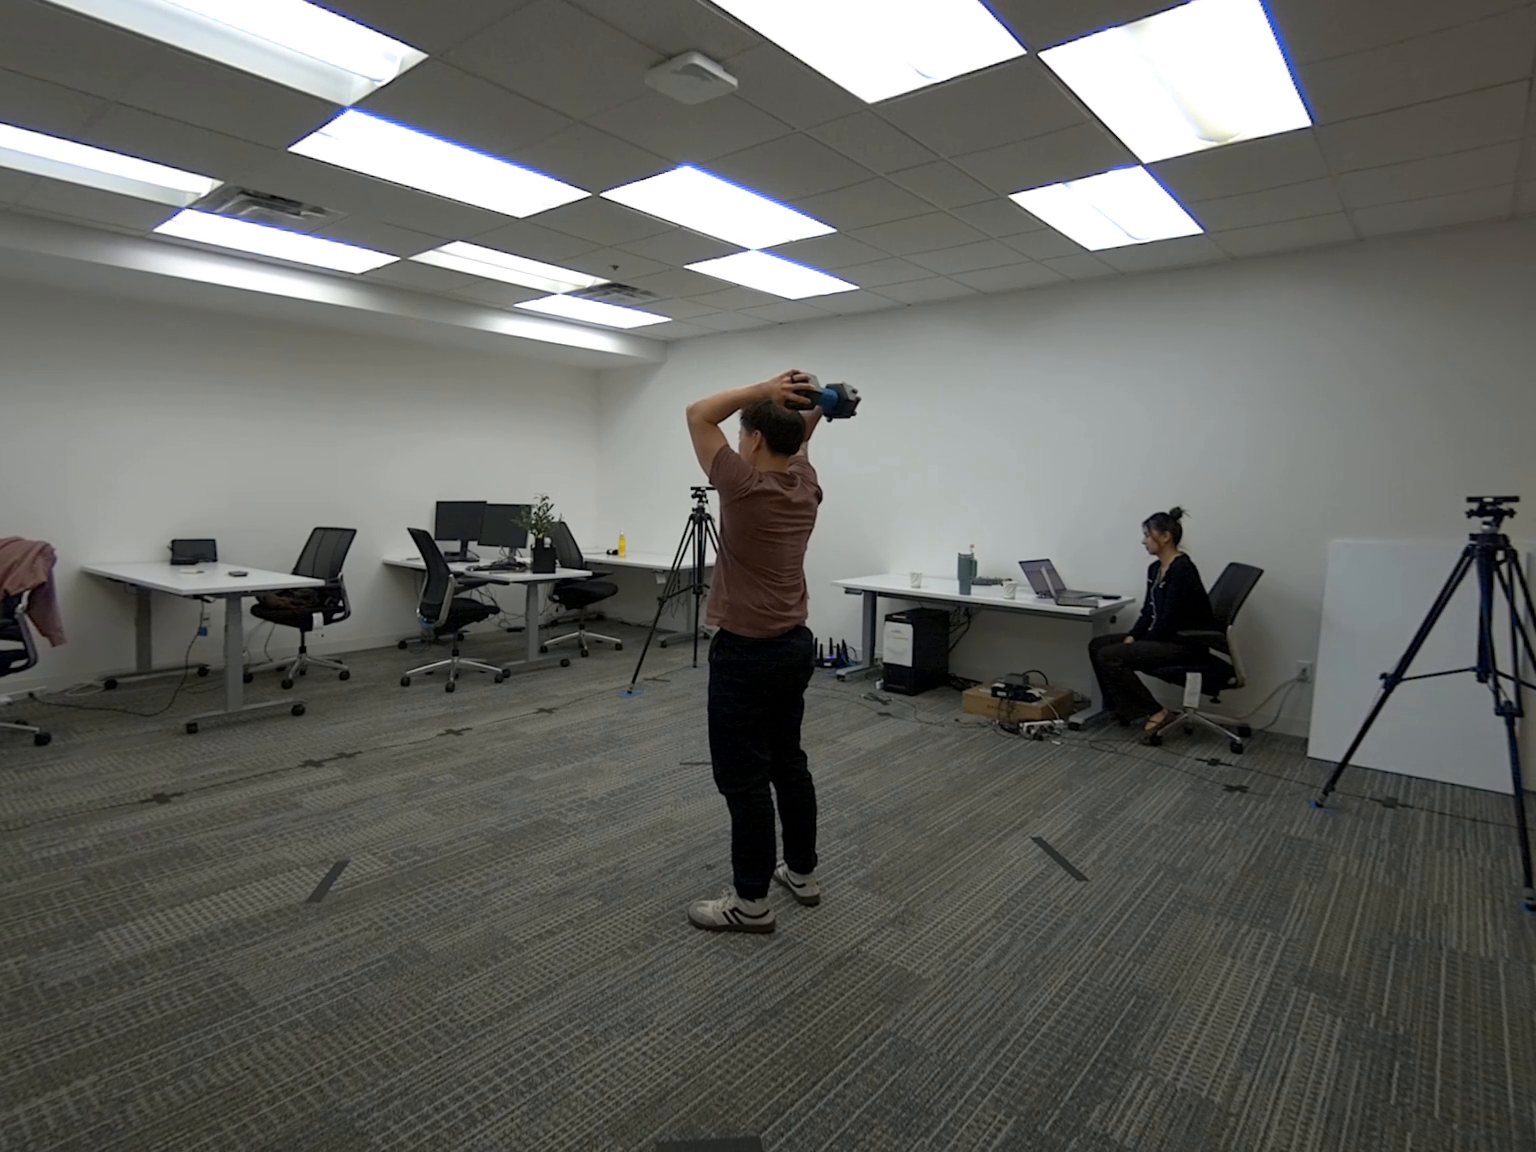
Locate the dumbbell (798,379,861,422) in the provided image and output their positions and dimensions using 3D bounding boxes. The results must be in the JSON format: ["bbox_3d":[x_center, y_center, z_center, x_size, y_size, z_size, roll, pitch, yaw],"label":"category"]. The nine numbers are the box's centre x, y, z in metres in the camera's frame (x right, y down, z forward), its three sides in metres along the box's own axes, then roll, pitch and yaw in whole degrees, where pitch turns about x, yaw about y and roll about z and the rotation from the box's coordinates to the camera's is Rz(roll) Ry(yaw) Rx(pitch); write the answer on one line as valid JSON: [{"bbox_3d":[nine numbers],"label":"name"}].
[{"bbox_3d":[0.149,-0.582,2.681,0.127,0.108,0.284,6,5,38],"label":"dumbbell"}]
